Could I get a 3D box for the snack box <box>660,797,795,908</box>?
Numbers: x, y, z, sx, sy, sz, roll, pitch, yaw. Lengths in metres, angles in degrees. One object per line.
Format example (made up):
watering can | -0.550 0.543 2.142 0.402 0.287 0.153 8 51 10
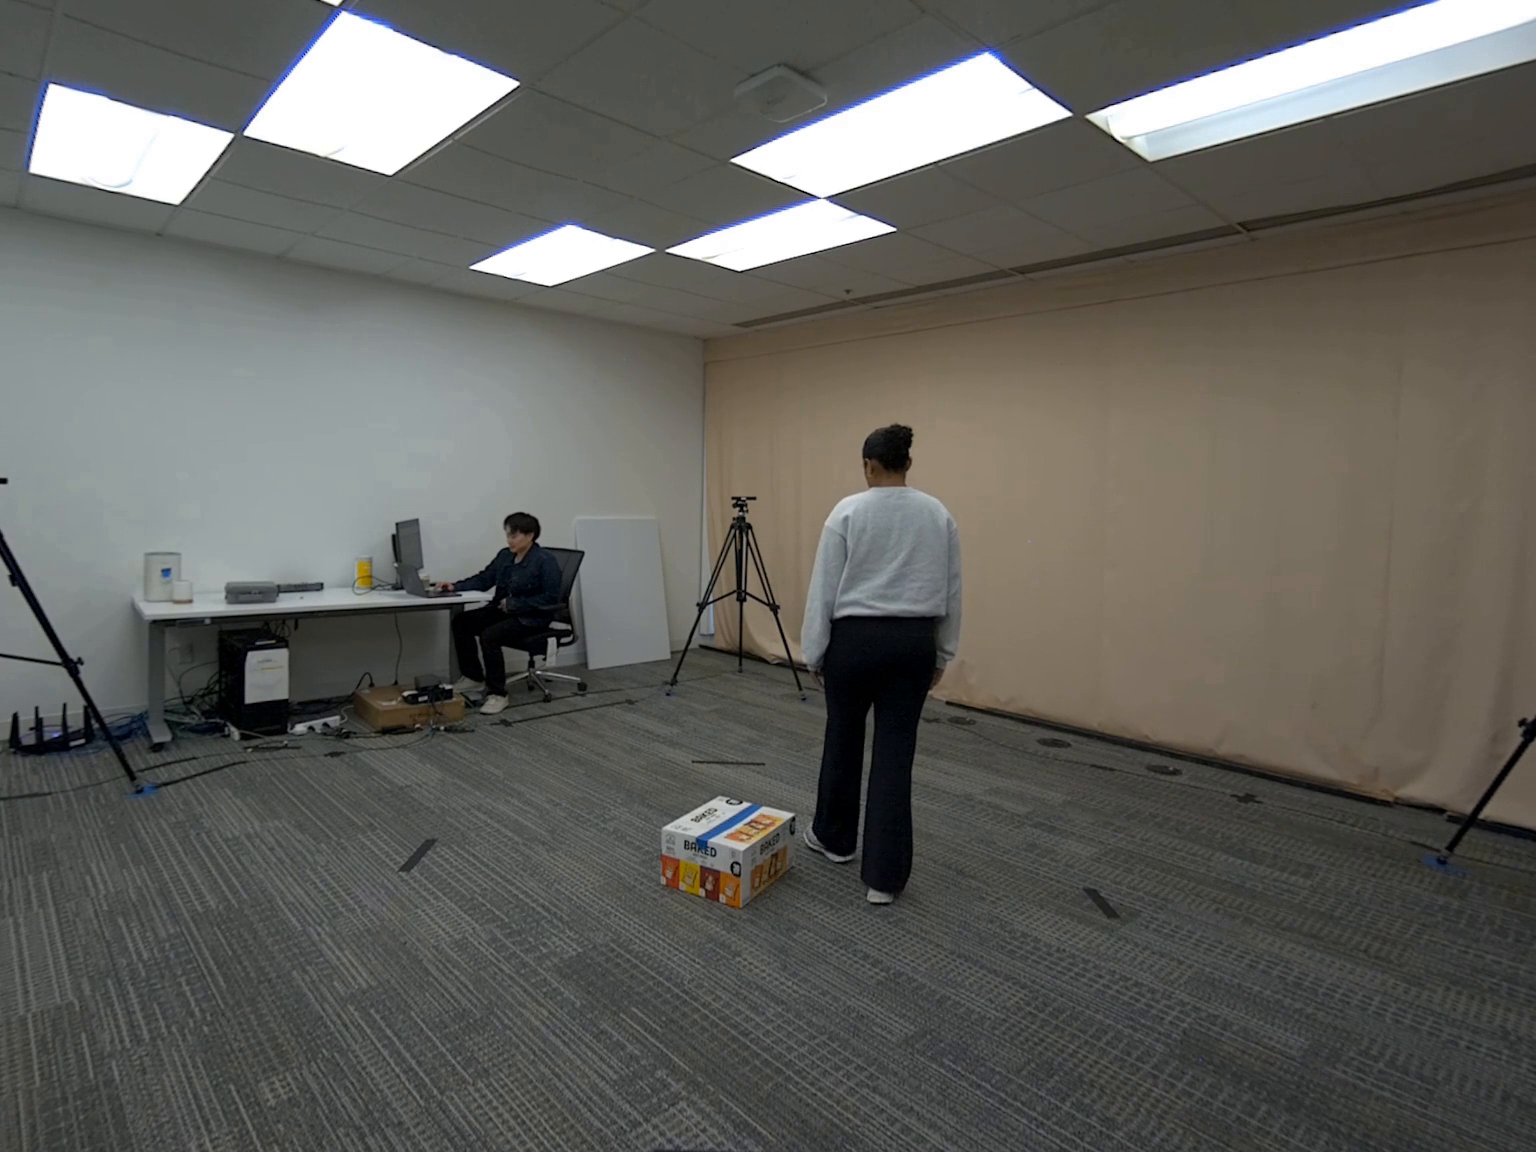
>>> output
snack box | -0.146 1.003 3.103 0.348 0.205 0.397 4 6 30
